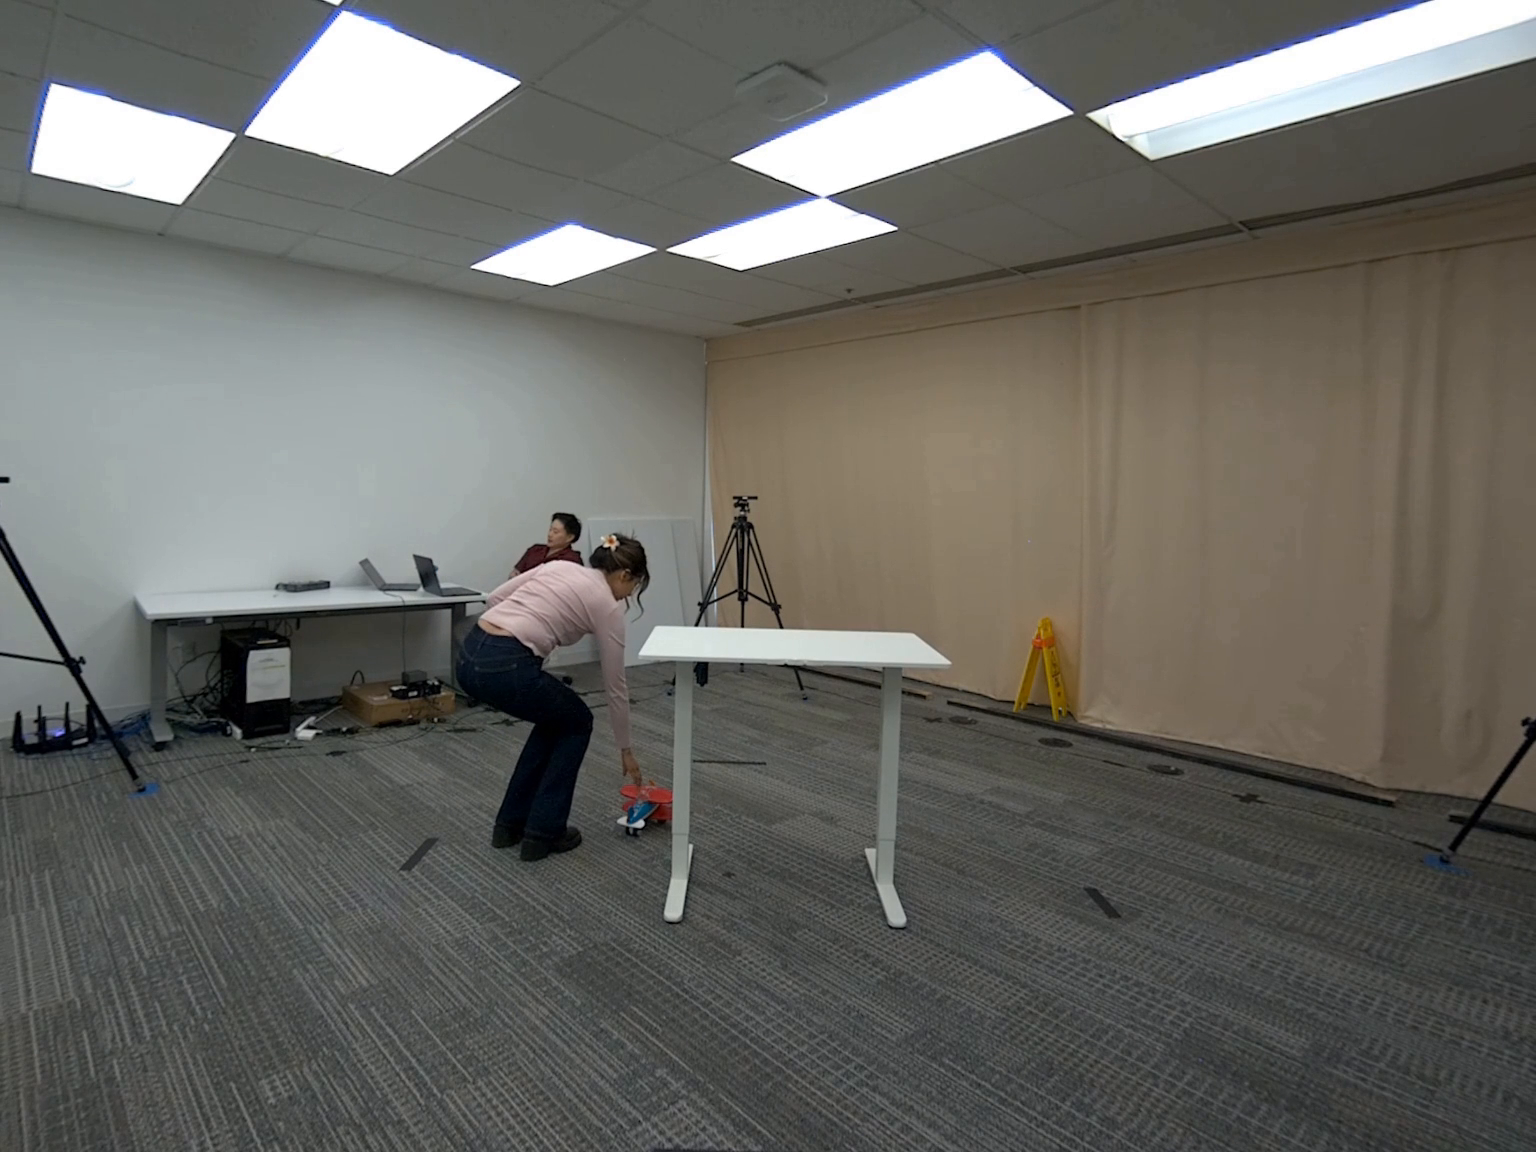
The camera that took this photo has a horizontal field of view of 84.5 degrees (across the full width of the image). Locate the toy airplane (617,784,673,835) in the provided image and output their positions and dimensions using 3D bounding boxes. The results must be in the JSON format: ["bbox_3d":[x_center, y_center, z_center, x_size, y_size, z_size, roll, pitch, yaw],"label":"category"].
[{"bbox_3d":[-0.510,0.982,3.520,0.250,0.156,0.261,2,3,-6],"label":"toy airplane"}]
